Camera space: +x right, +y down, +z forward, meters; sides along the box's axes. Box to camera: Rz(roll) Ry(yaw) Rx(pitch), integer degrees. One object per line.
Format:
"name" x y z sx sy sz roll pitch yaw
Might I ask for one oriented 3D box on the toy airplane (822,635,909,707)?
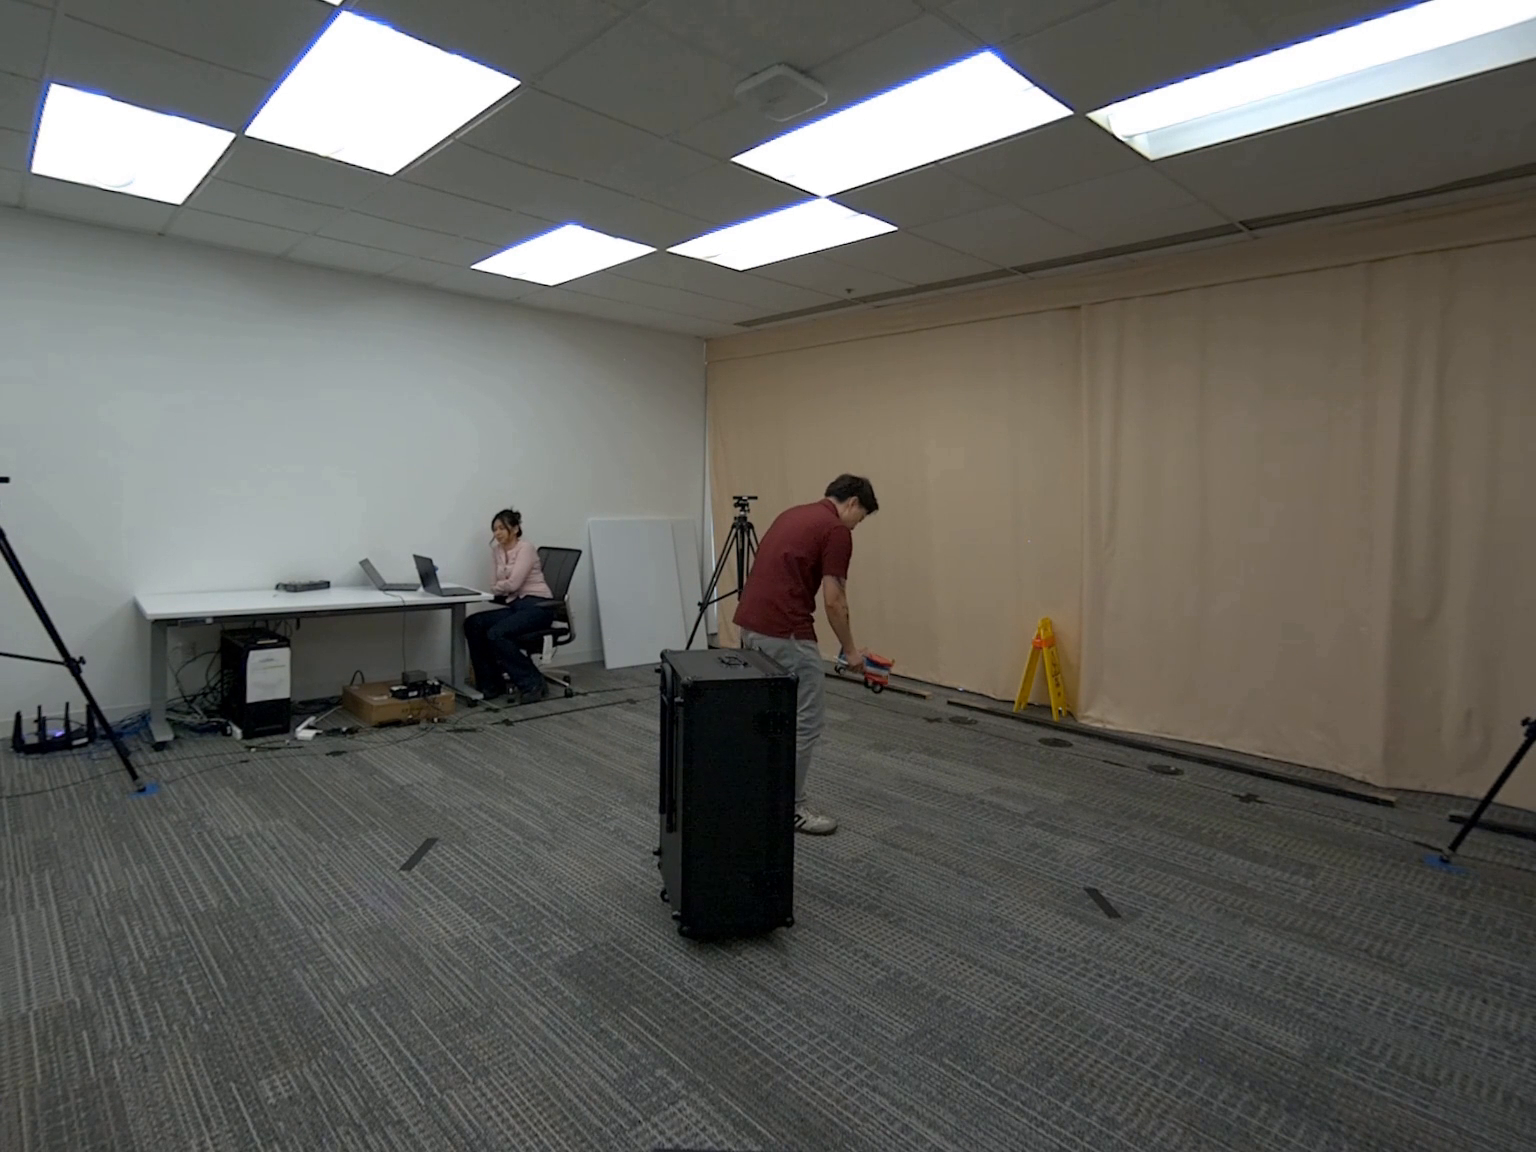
"toy airplane" 0.413 0.409 3.680 0.251 0.156 0.259 29 -1 -43
